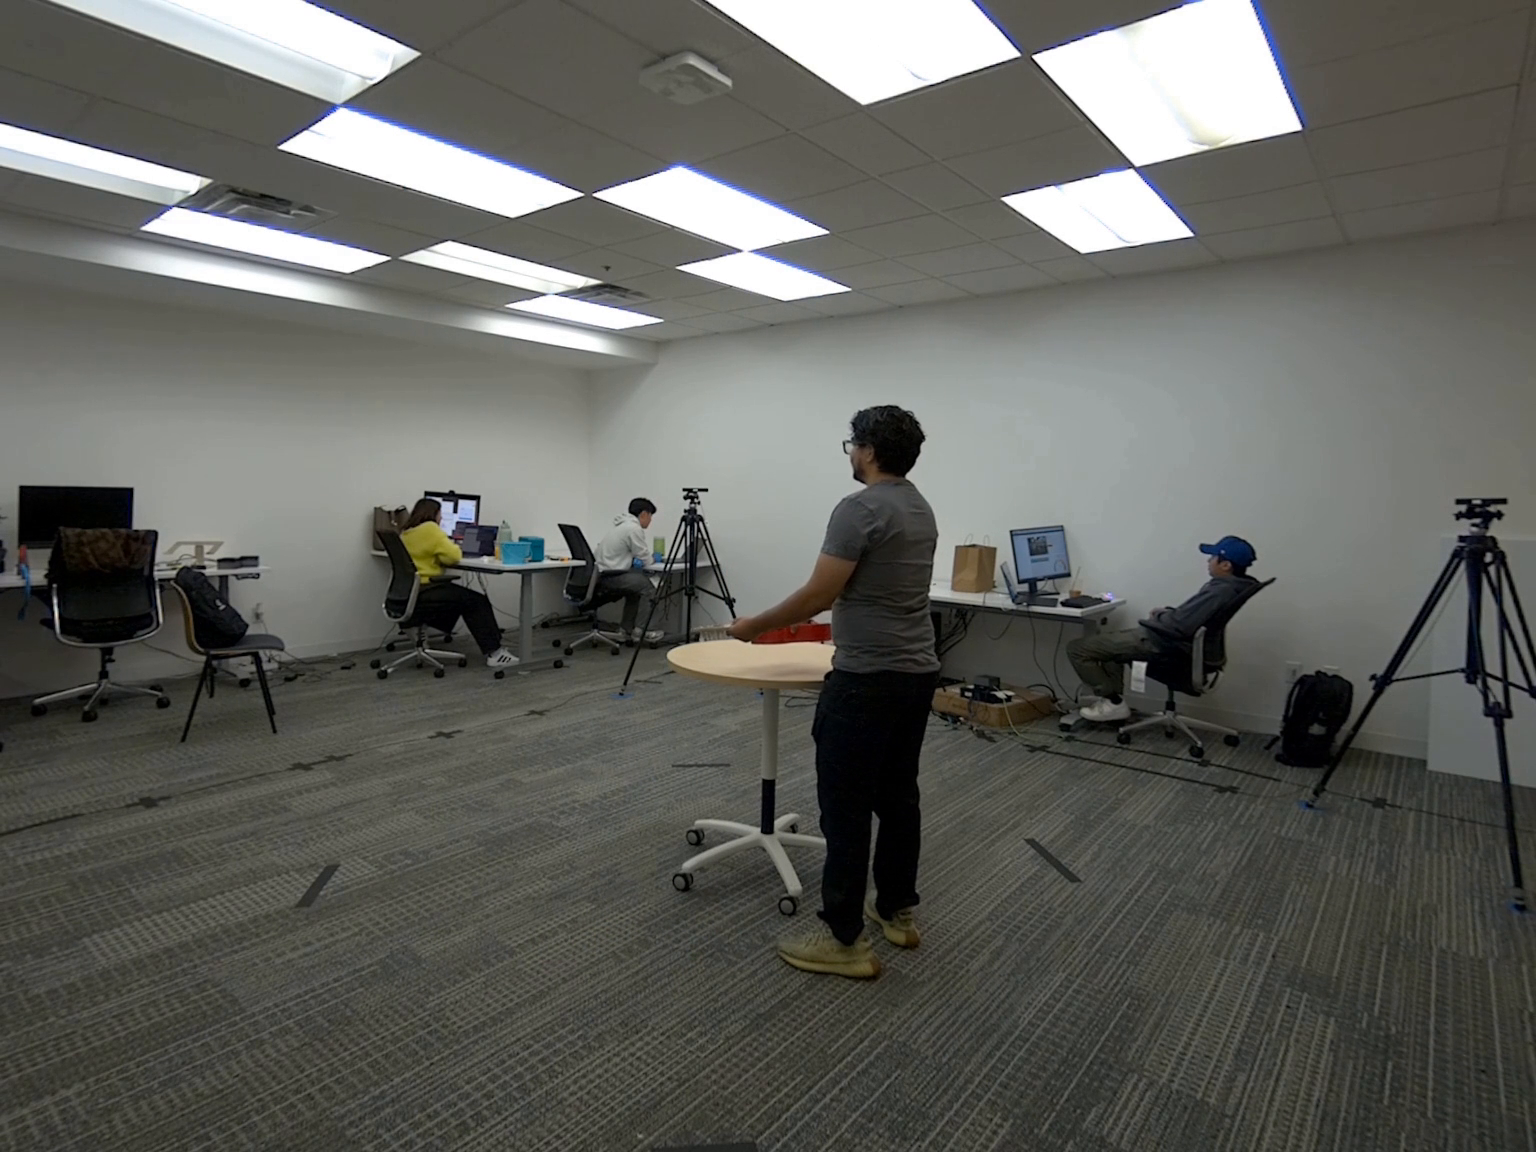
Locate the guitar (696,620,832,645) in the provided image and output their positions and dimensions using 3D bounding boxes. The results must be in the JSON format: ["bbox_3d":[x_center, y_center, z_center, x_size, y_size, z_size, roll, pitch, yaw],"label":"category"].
[{"bbox_3d":[-0.049,0.190,2.826,0.489,0.071,0.196,-2,-1,-18],"label":"guitar"}]
